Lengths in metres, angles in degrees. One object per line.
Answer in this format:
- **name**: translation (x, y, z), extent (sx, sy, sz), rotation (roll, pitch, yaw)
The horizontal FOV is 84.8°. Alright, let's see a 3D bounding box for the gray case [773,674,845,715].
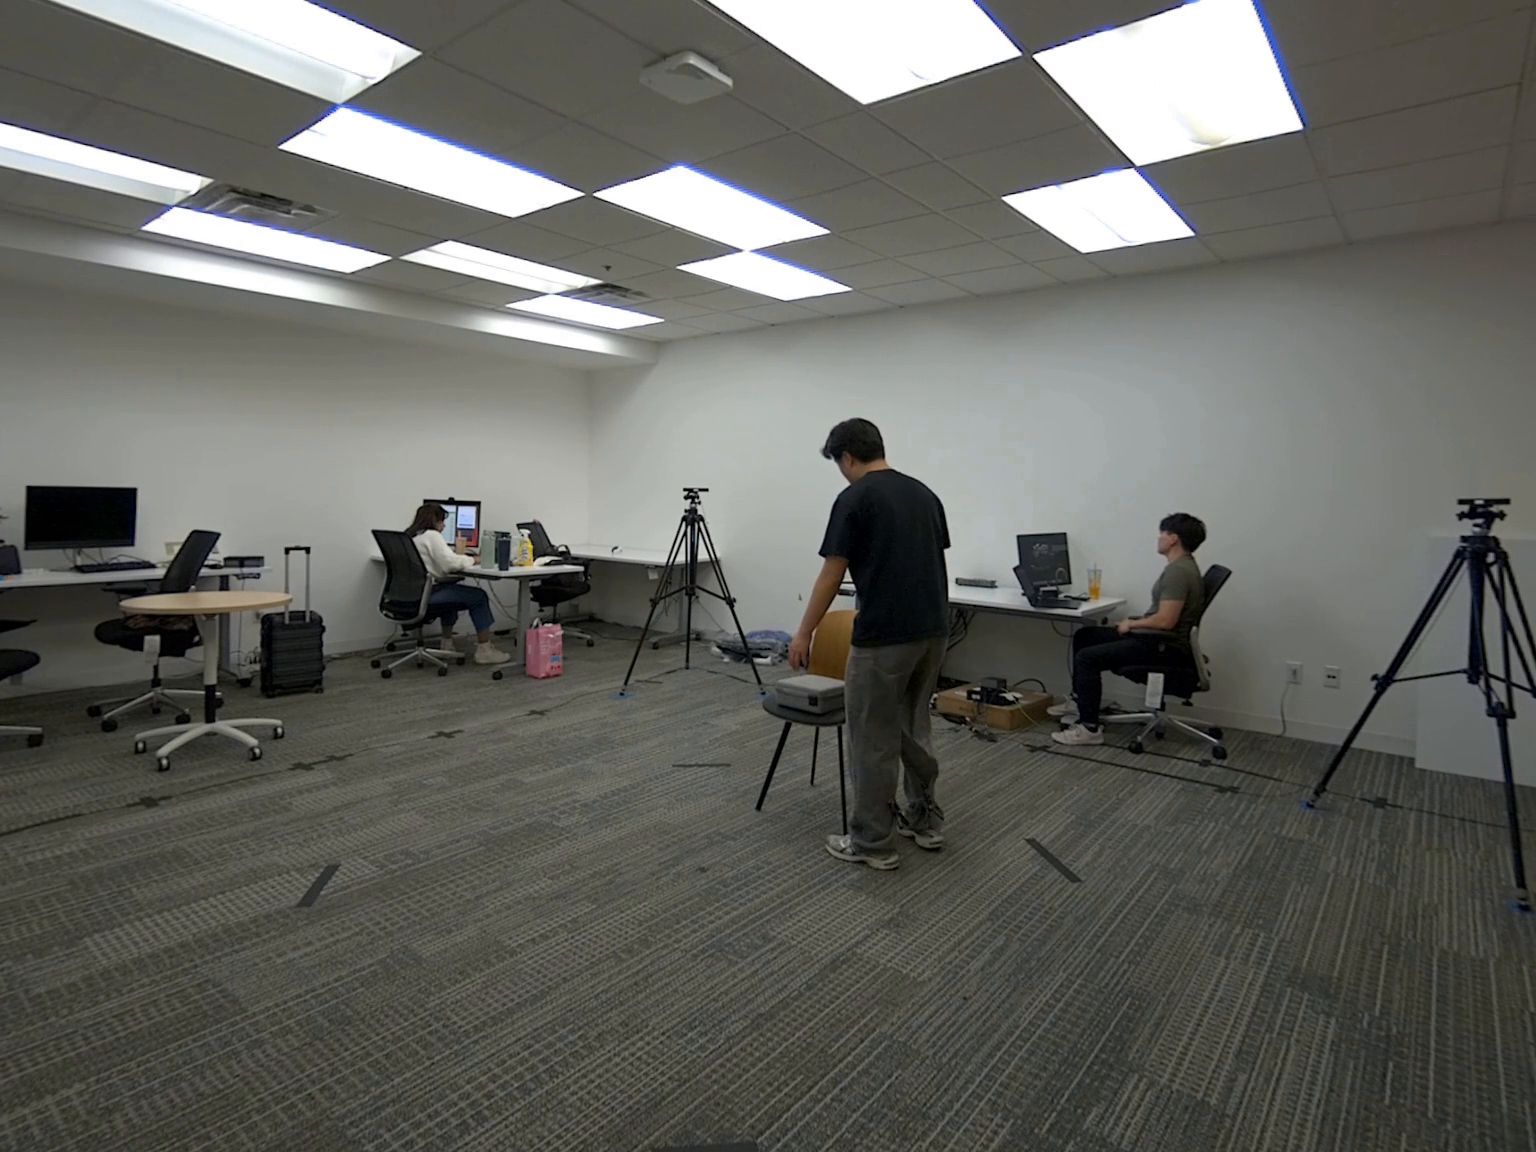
- **gray case**: translation (0.192, 0.489, 3.612), extent (0.272, 0.103, 0.278), rotation (5, 5, 39)
